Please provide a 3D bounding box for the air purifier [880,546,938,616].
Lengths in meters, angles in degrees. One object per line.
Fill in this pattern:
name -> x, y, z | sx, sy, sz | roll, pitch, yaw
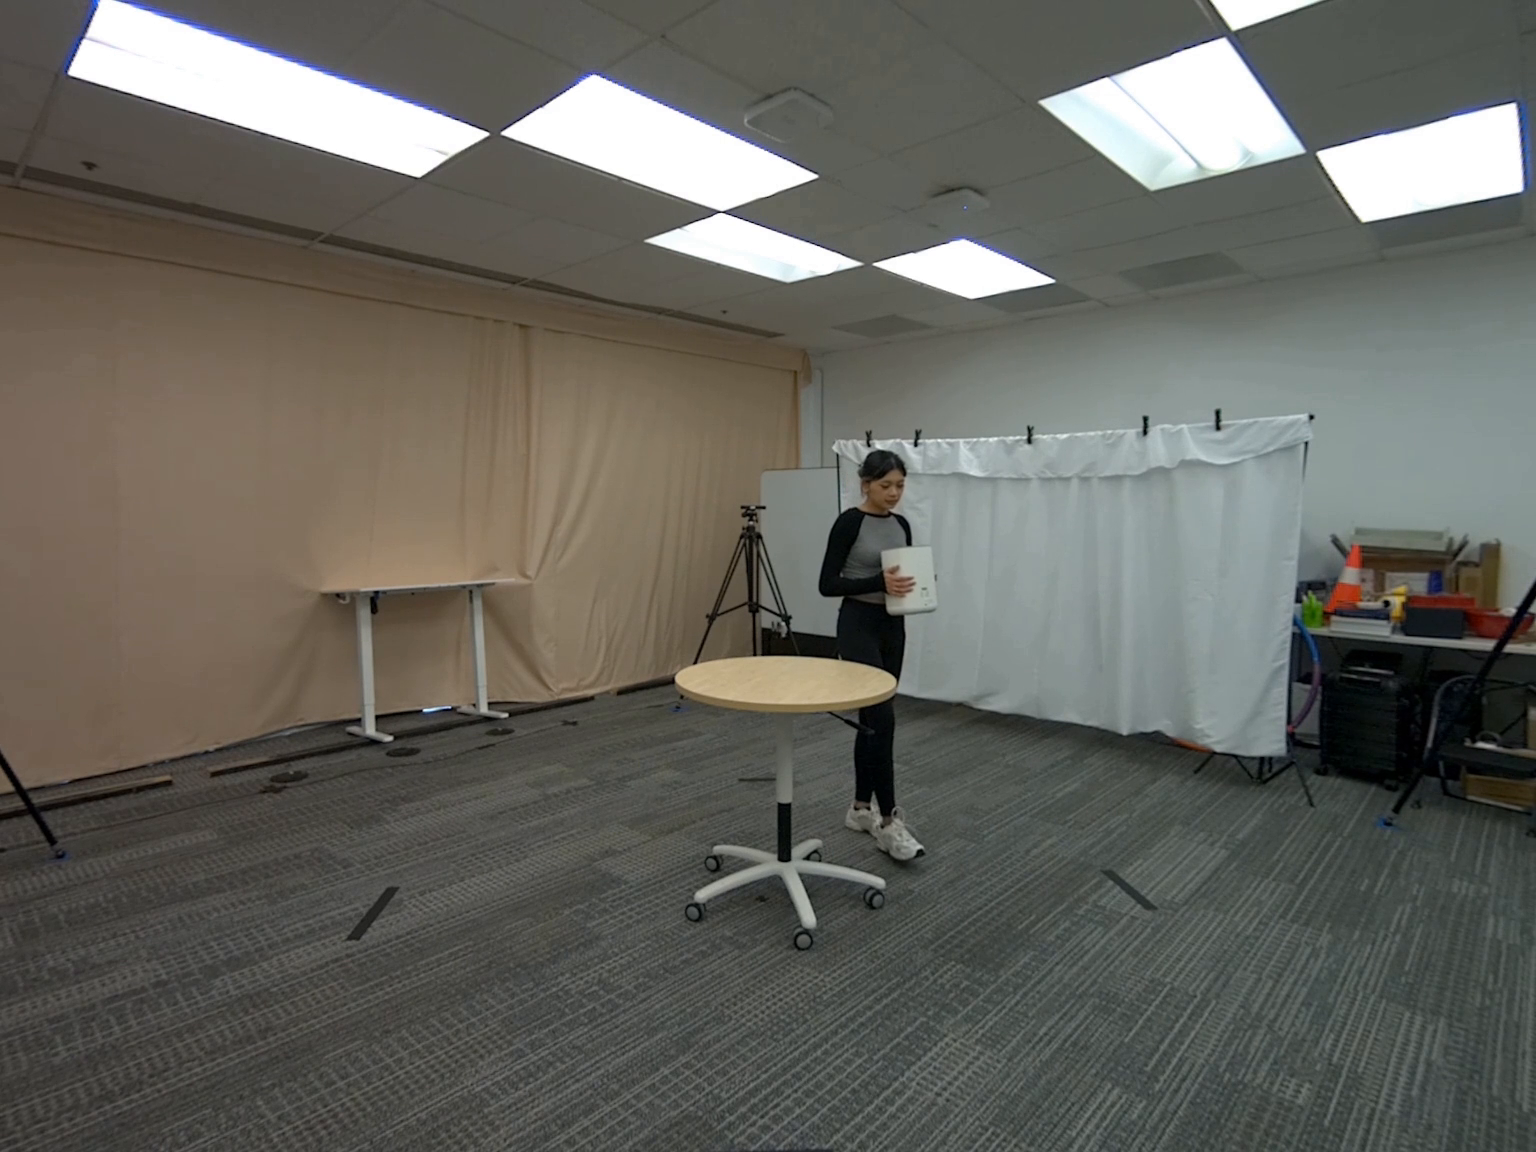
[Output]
air purifier -> 0.563, 0.021, 3.355 | 0.166, 0.266, 0.175 | -3, -5, -29
